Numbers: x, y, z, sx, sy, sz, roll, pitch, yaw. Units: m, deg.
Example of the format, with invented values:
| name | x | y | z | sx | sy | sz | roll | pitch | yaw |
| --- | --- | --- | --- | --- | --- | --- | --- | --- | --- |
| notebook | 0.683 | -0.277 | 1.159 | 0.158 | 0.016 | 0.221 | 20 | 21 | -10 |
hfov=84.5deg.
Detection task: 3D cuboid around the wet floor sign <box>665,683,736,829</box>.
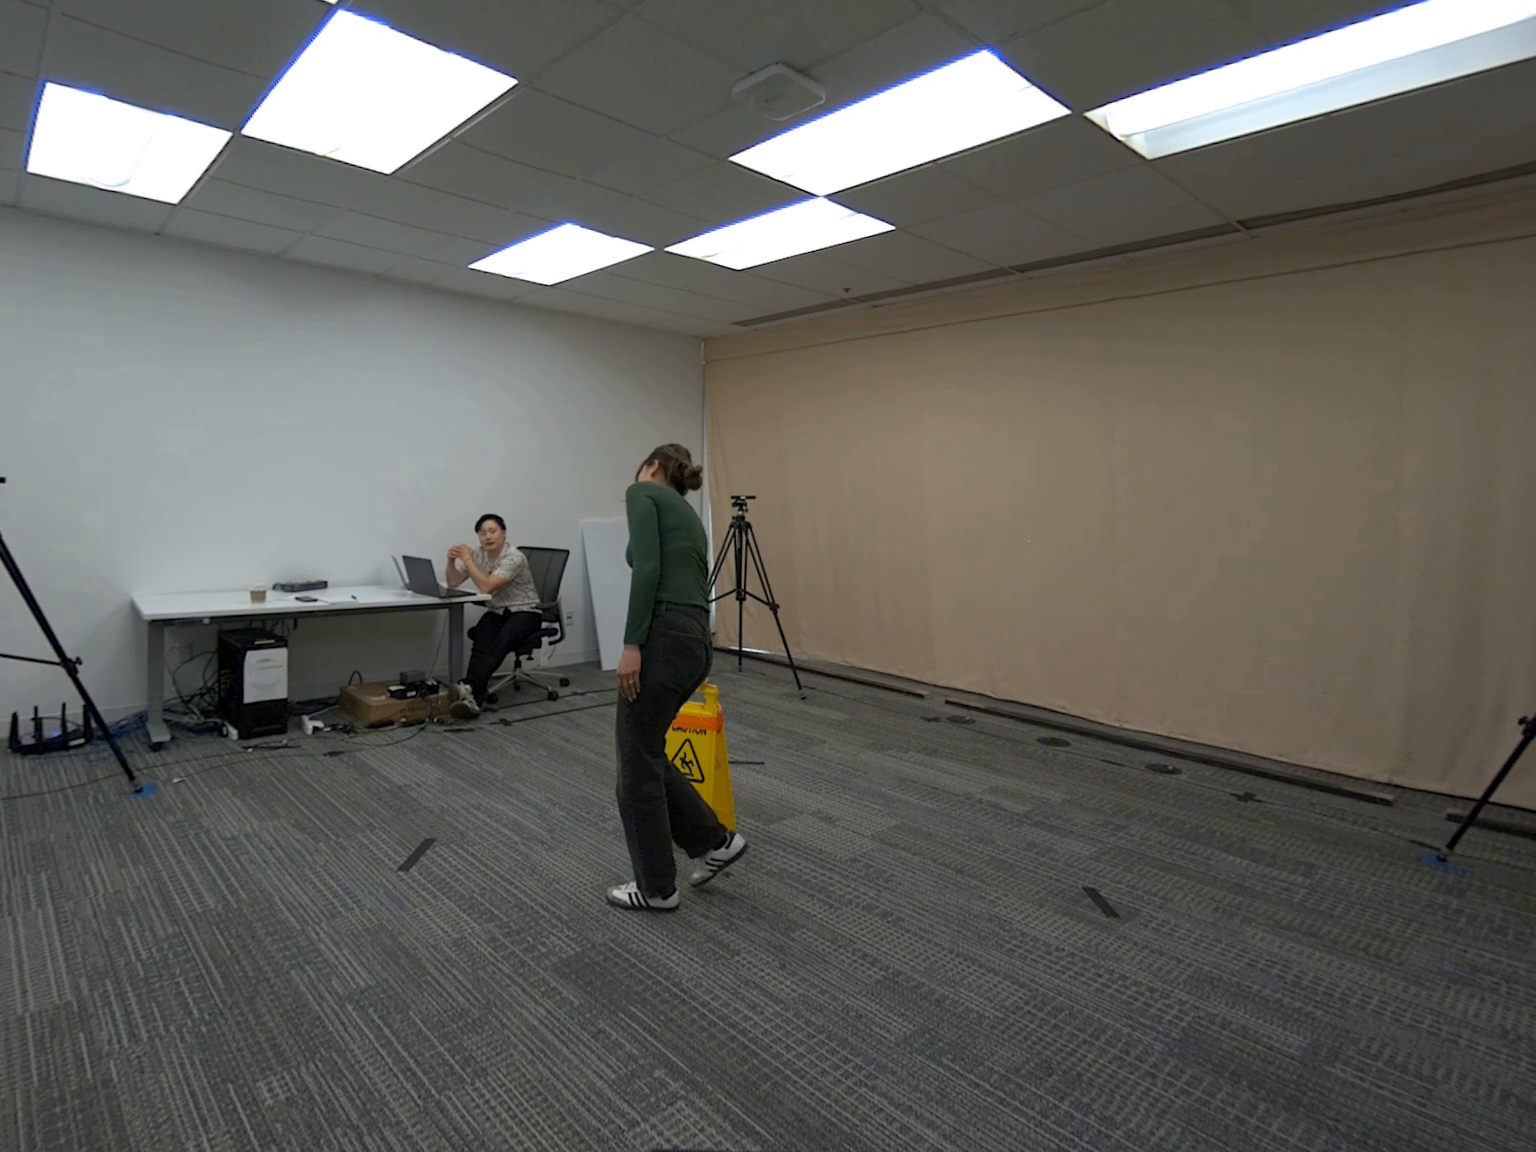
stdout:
| name | x | y | z | sx | sy | sz | roll | pitch | yaw |
| --- | --- | --- | --- | --- | --- | --- | --- | --- | --- |
| wet floor sign | -0.312 | 0.752 | 3.386 | 0.287 | 0.644 | 0.286 | 1 | 4 | 21 |
